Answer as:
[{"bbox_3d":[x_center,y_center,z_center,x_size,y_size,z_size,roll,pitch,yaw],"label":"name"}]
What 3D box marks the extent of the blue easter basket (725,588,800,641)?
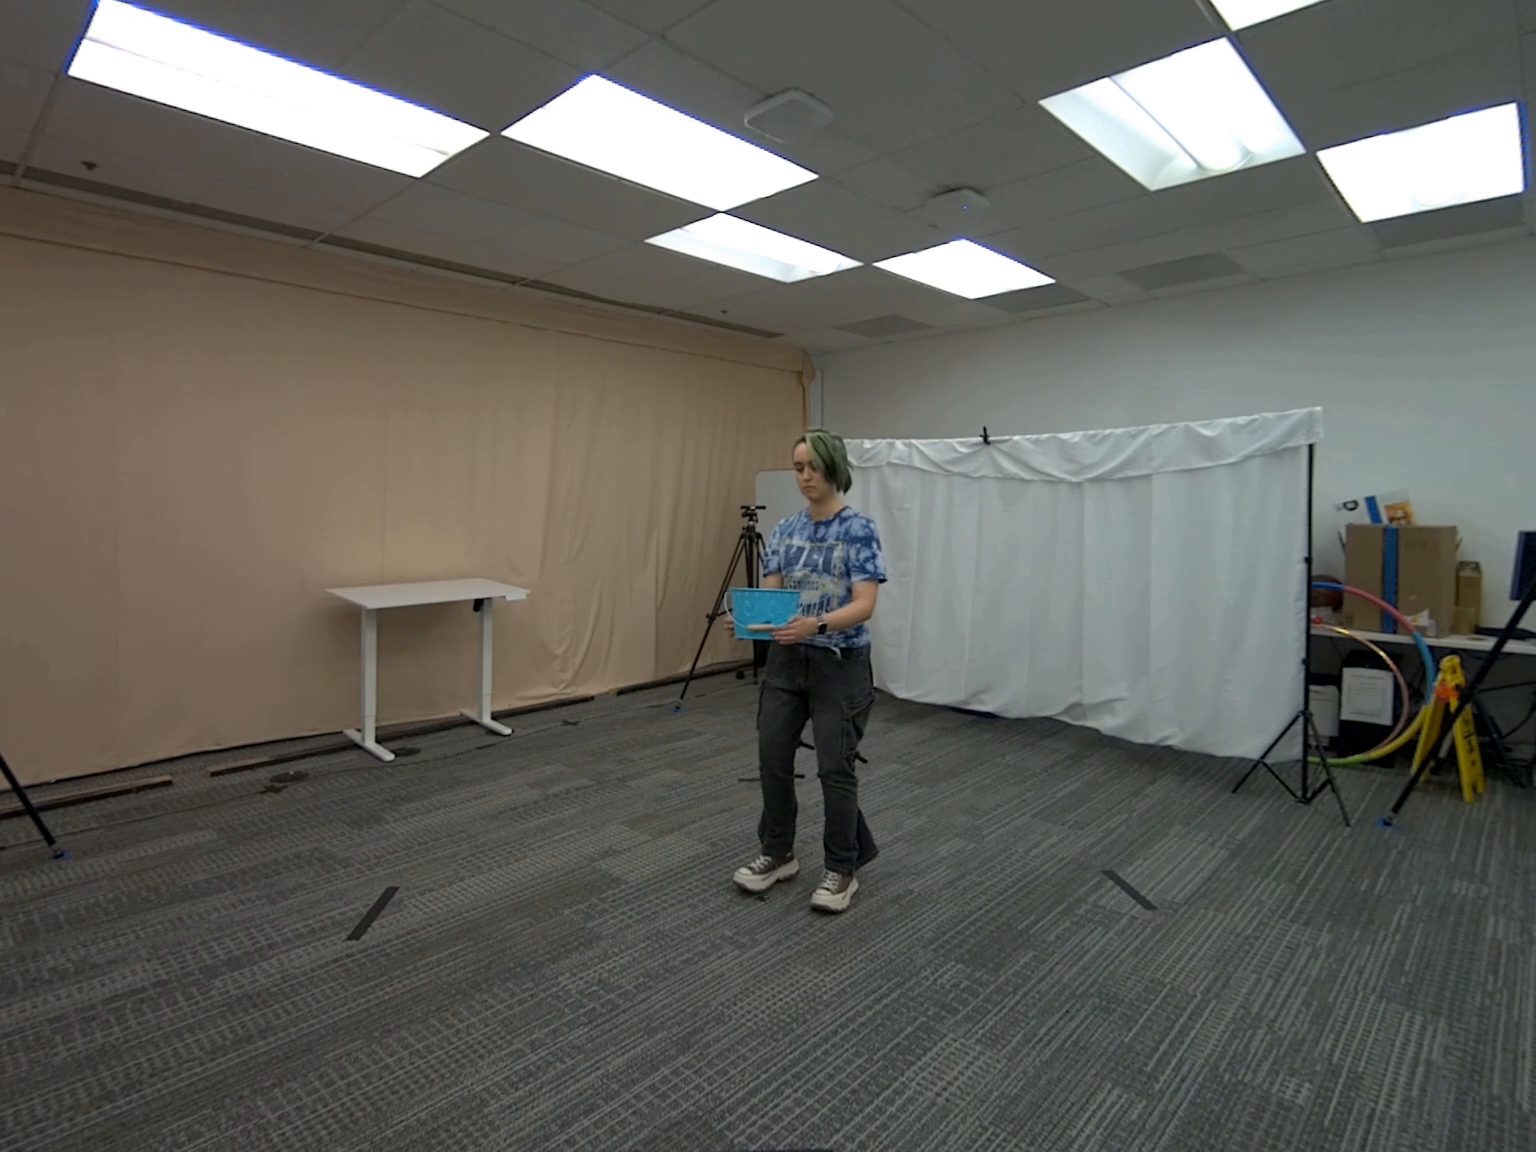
[{"bbox_3d":[-0.016,0.121,2.673,0.243,0.156,0.243,1,-3,-2],"label":"blue easter basket"}]
